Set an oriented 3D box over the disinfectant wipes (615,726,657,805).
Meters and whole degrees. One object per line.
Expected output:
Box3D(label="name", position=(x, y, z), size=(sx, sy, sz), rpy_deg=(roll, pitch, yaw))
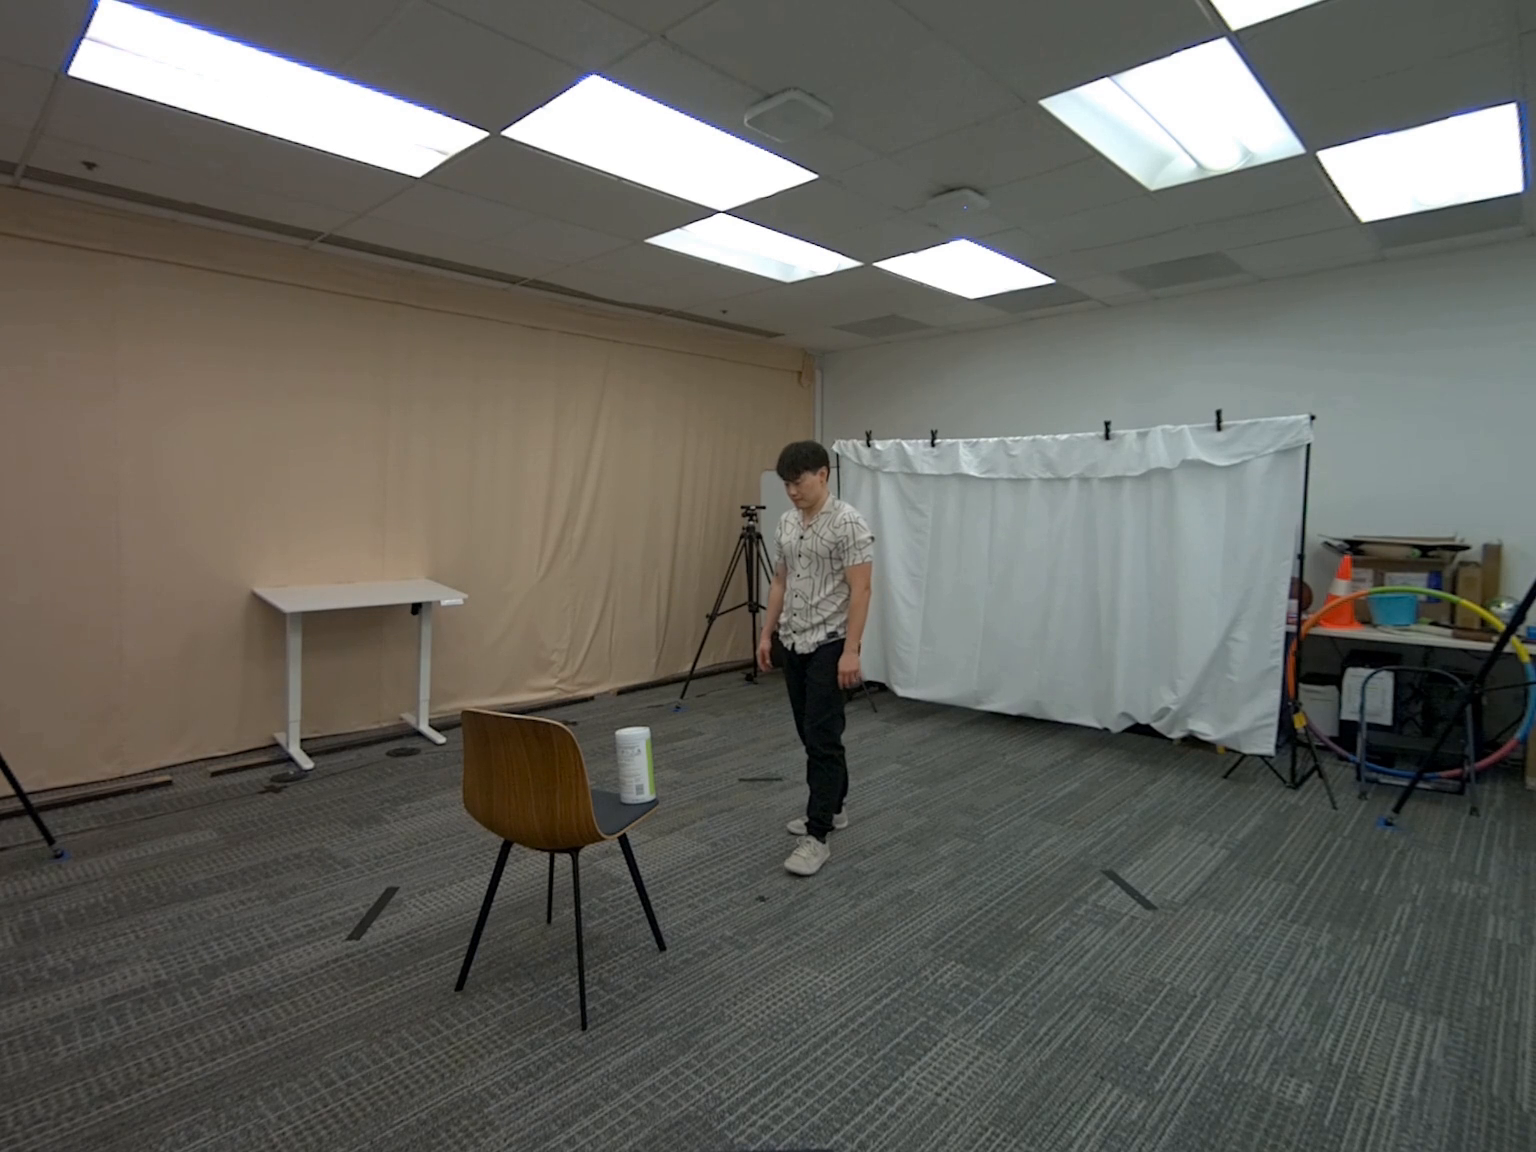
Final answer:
Box3D(label="disinfectant wipes", position=(-0.409, 0.583, 2.585), size=(0.117, 0.218, 0.117), rpy_deg=(-4, -3, -2))
